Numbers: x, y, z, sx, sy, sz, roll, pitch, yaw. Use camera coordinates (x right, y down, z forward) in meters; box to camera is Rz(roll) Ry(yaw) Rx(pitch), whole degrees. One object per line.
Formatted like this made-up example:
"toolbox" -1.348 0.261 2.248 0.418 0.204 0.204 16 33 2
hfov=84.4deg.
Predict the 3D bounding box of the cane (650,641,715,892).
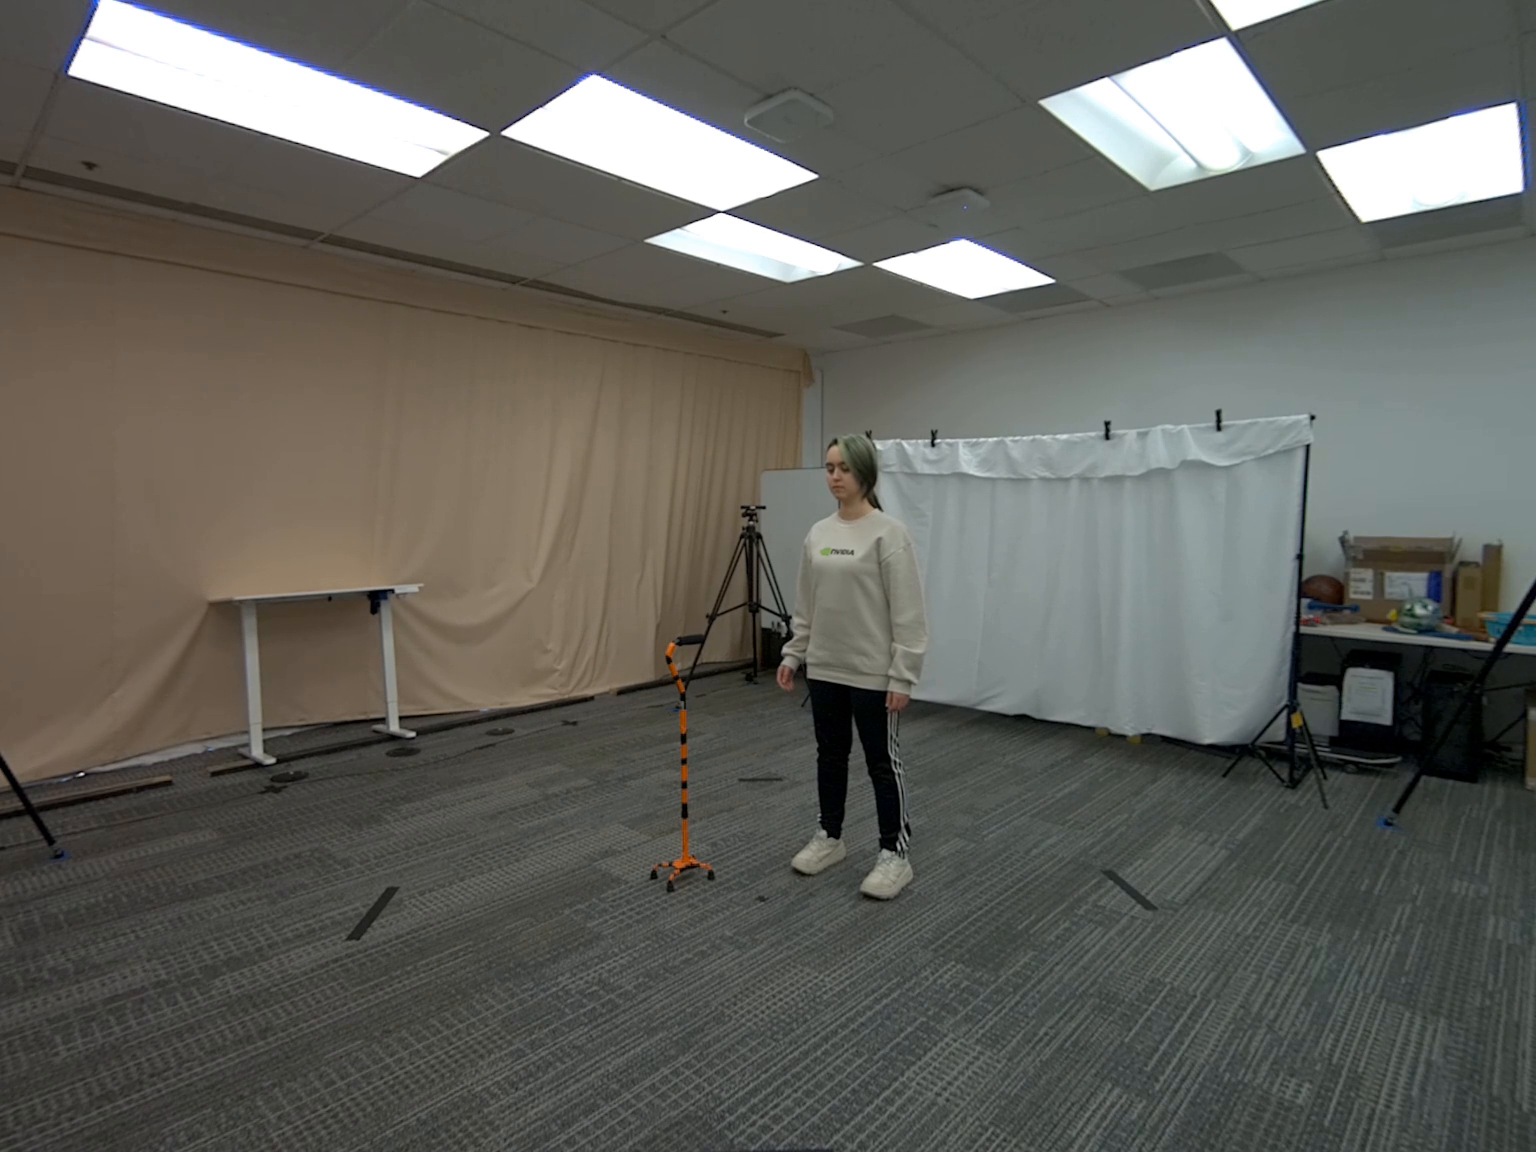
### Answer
"cane" -0.321 0.680 3.130 0.200 0.906 0.156 -2 3 -35
